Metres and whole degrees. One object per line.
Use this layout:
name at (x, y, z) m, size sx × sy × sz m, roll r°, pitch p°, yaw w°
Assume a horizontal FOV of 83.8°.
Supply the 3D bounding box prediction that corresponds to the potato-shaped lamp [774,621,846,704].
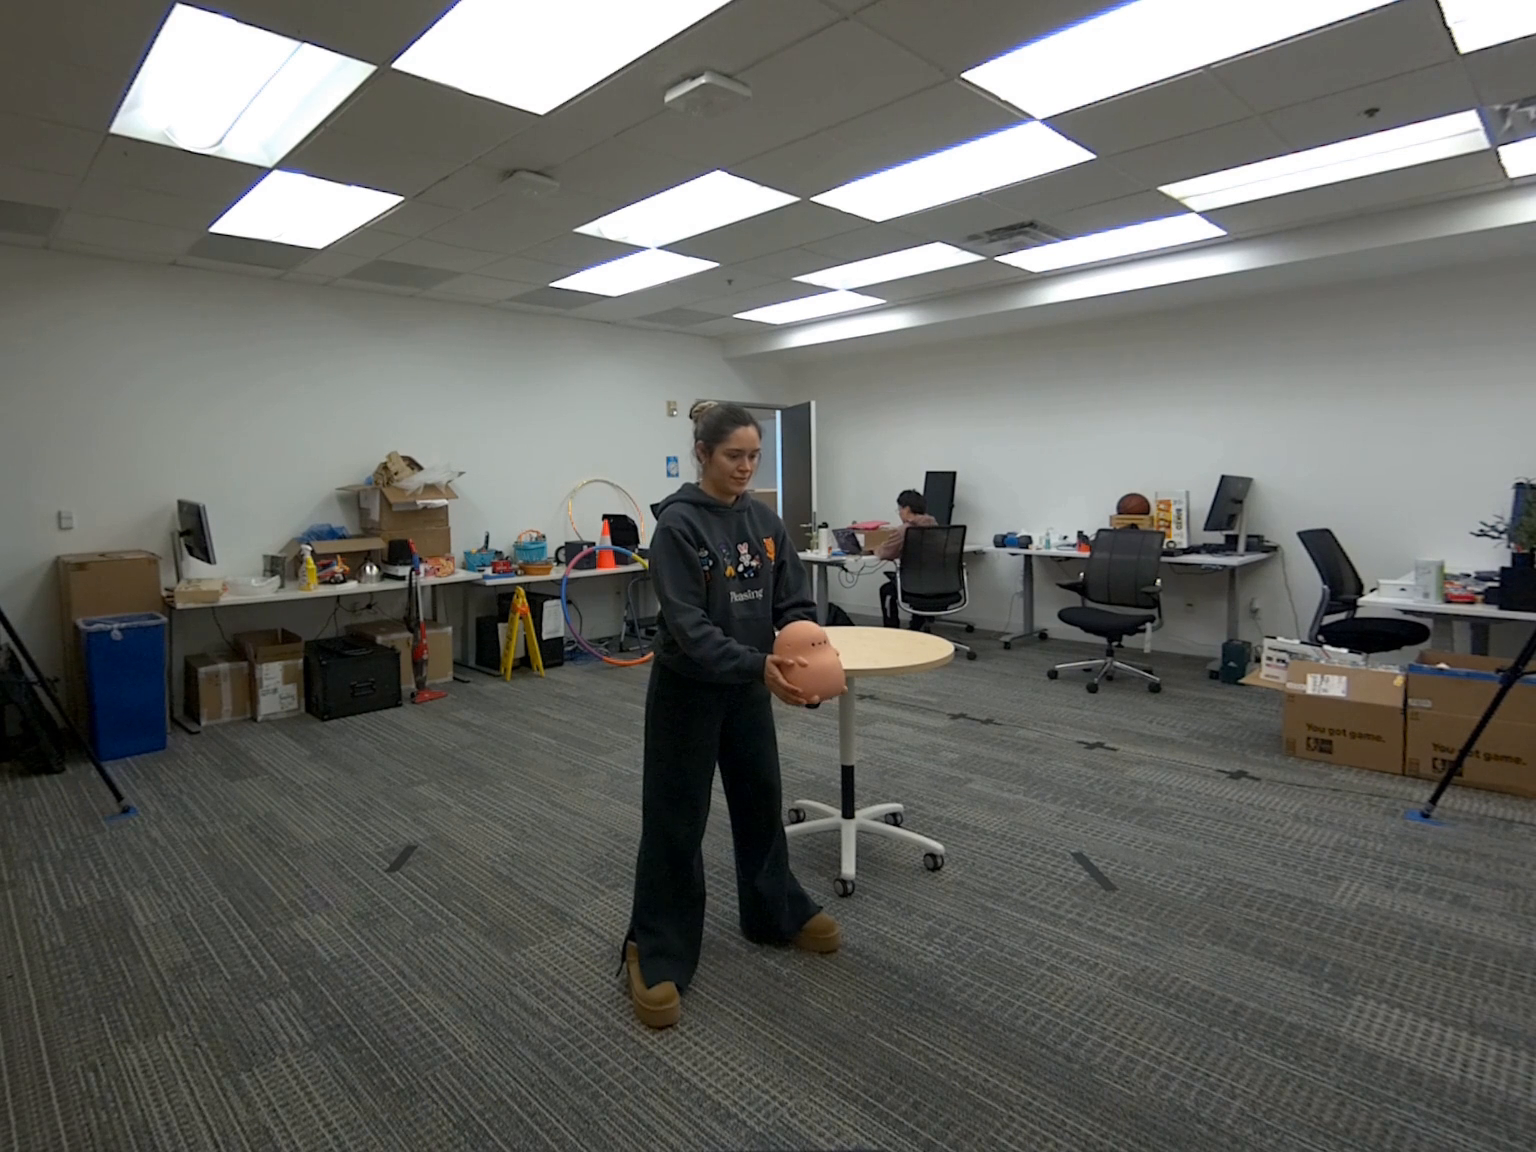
potato-shaped lamp at (0.087, 0.208, 2.106) m, size 0.161 × 0.198 × 0.175 m, roll -9°, pitch 0°, yaw -37°
